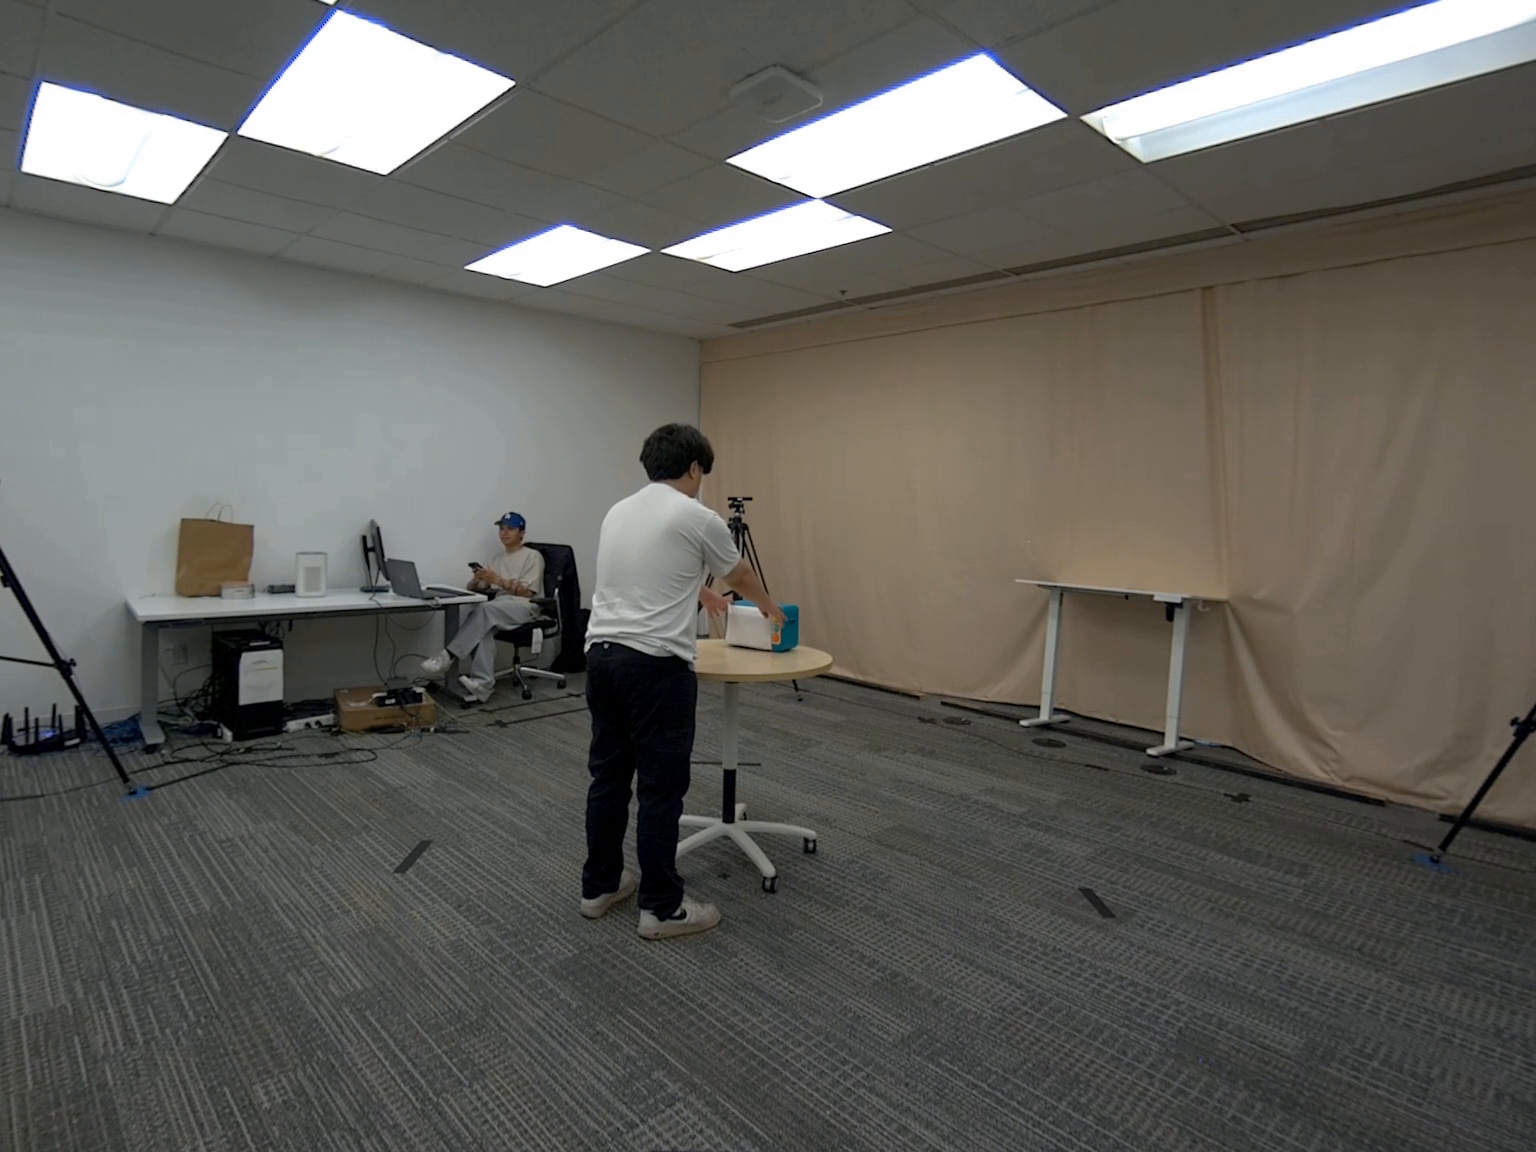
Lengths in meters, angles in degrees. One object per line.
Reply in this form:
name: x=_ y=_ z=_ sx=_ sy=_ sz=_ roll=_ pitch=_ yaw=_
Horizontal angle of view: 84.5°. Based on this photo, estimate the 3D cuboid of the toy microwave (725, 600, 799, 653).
toy microwave: x=-0.040 y=0.201 z=3.402 sx=0.293 sy=0.184 sz=0.149 roll=4 pitch=4 yaw=33
